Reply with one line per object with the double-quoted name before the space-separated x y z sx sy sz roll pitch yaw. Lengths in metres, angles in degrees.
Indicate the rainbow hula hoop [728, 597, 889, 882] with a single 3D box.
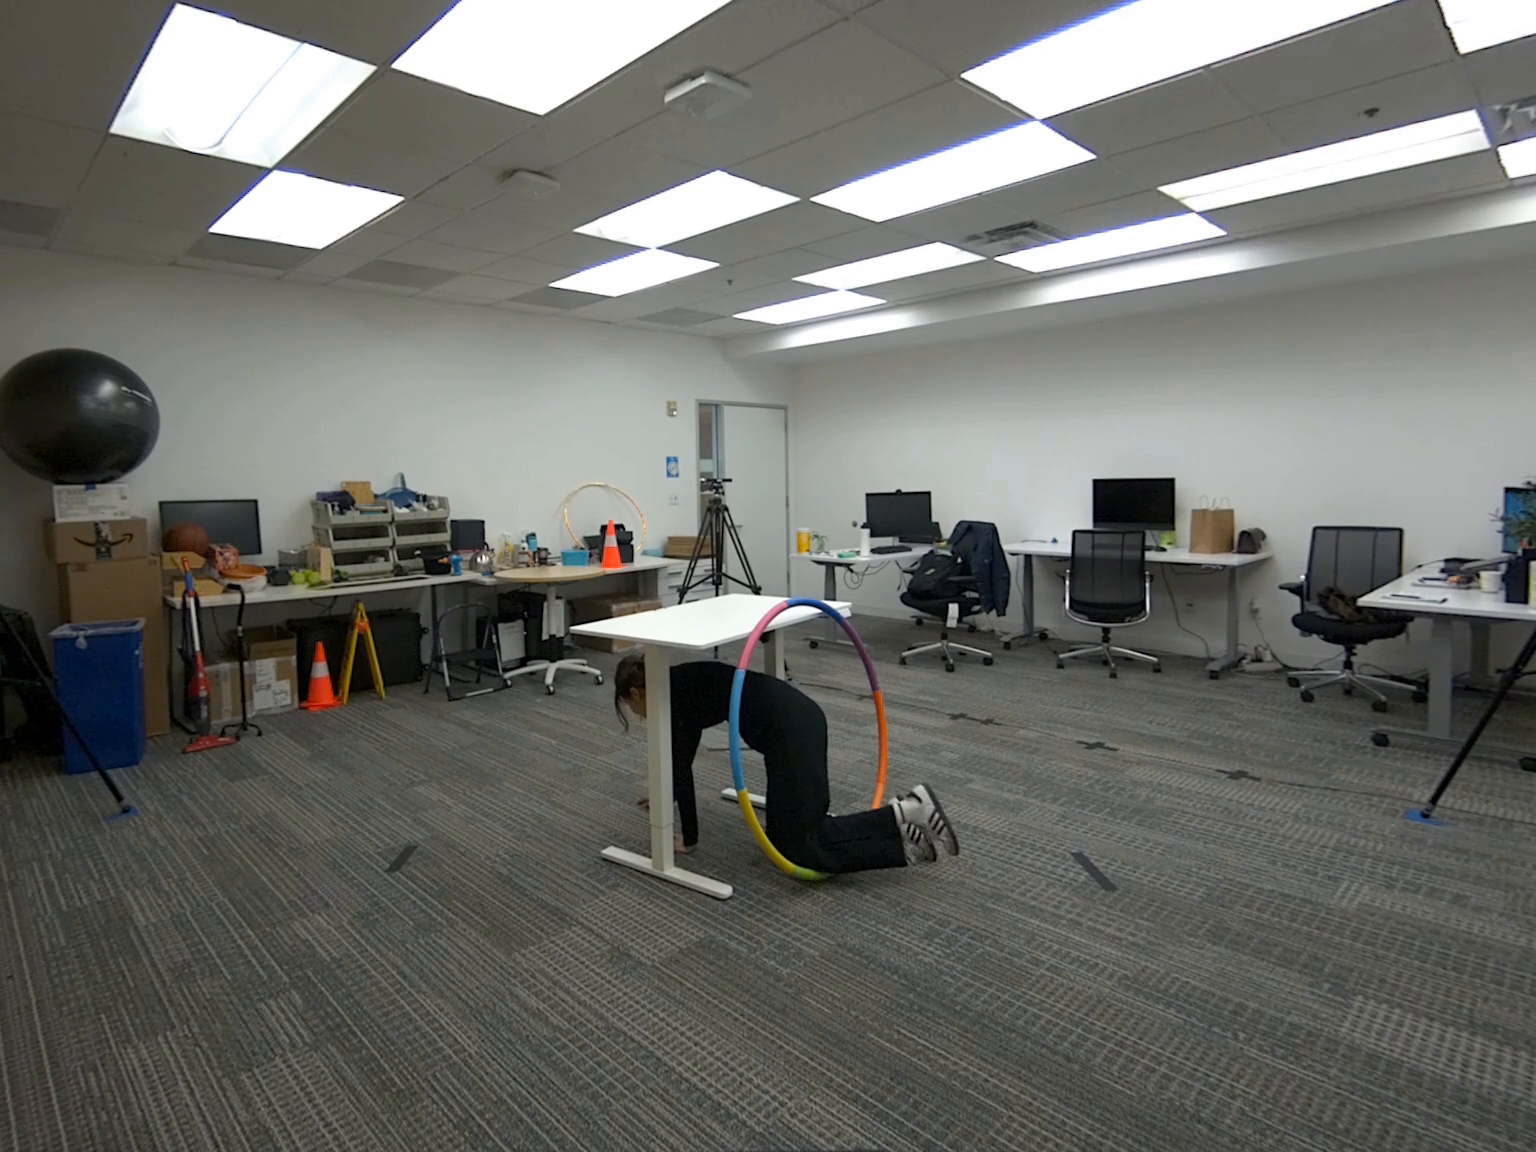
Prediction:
"rainbow hula hoop" 0.176 0.568 3.070 0.036 0.982 0.954 -13 -3 36
